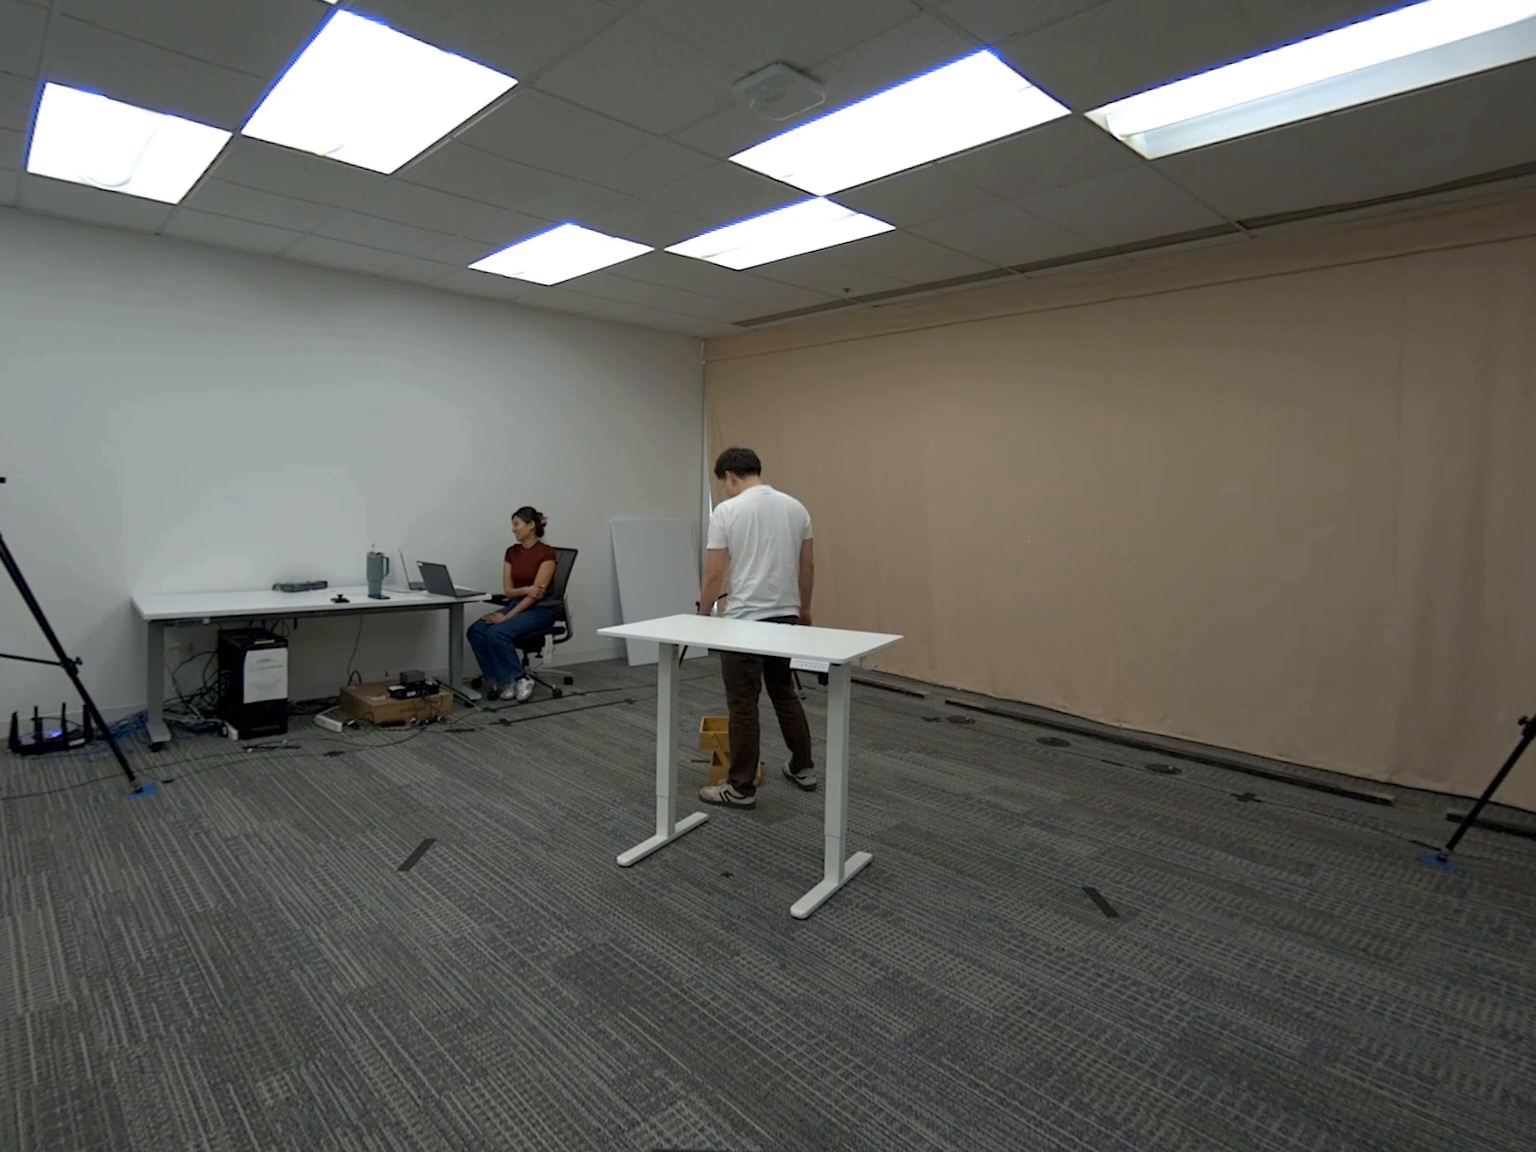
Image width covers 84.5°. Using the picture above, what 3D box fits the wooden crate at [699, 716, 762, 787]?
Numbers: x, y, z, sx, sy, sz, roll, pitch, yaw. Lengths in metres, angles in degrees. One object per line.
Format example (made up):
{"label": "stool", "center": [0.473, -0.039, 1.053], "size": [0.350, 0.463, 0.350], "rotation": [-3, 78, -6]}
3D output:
{"label": "wooden crate", "center": [-0.191, 0.869, 4.224], "size": [0.301, 0.272, 0.326], "rotation": [2, 4, -2]}
